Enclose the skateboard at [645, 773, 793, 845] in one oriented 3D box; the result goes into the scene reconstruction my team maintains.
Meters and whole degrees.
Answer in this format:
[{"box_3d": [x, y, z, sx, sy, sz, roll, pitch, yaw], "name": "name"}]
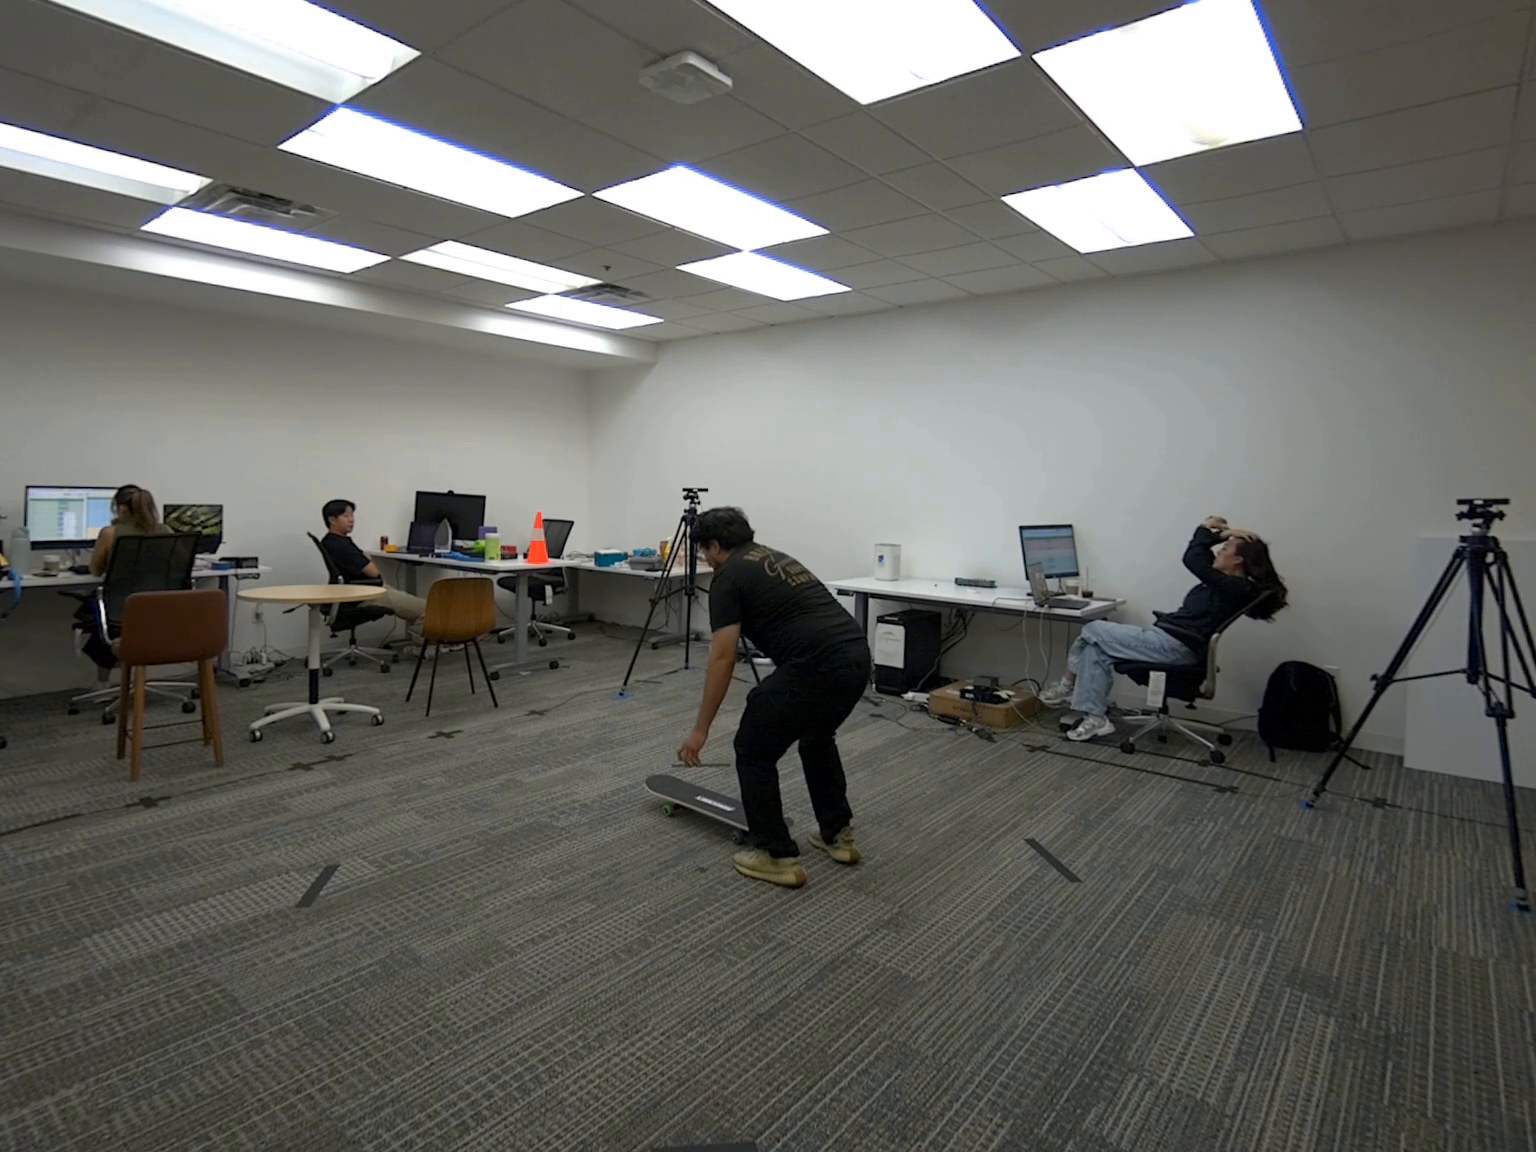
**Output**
[{"box_3d": [-0.230, 0.975, 3.536, 0.813, 0.110, 0.188, 7, 8, 41], "name": "skateboard"}]
